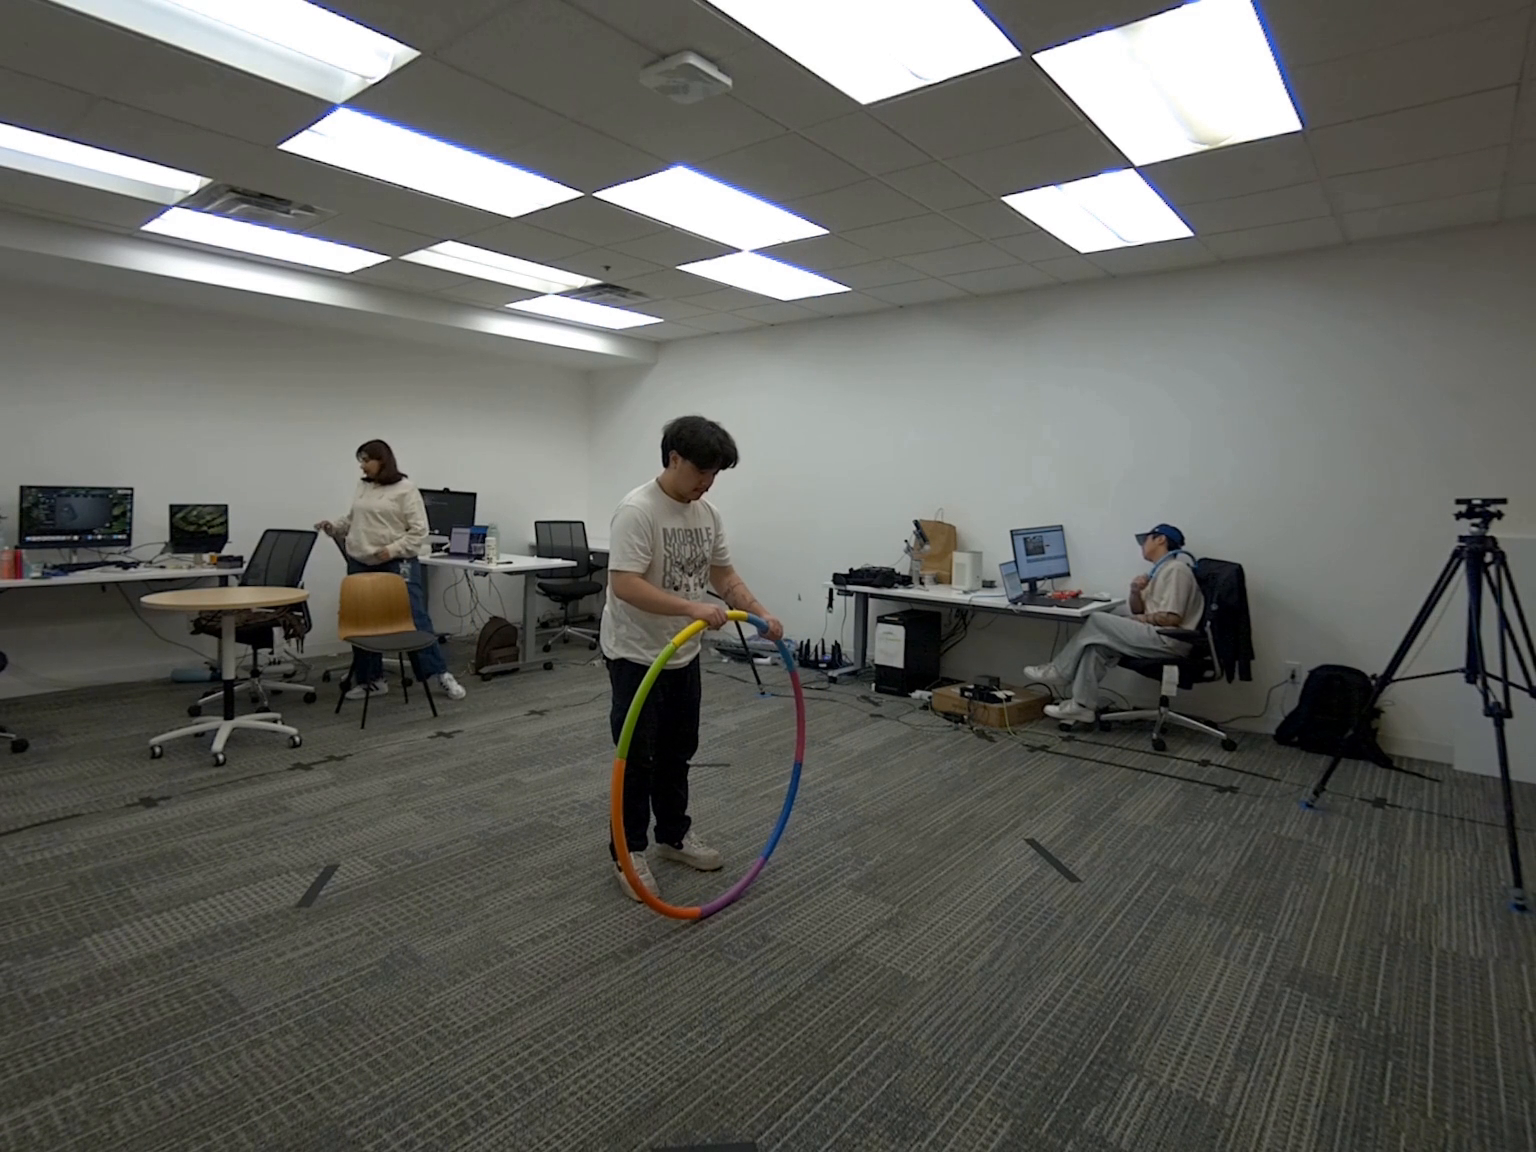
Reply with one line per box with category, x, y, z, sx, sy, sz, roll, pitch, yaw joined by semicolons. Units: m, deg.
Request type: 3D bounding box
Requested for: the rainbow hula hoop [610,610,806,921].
rainbow hula hoop;-0.164;0.608;2.800;0.053;0.983;0.957;2;4;38
